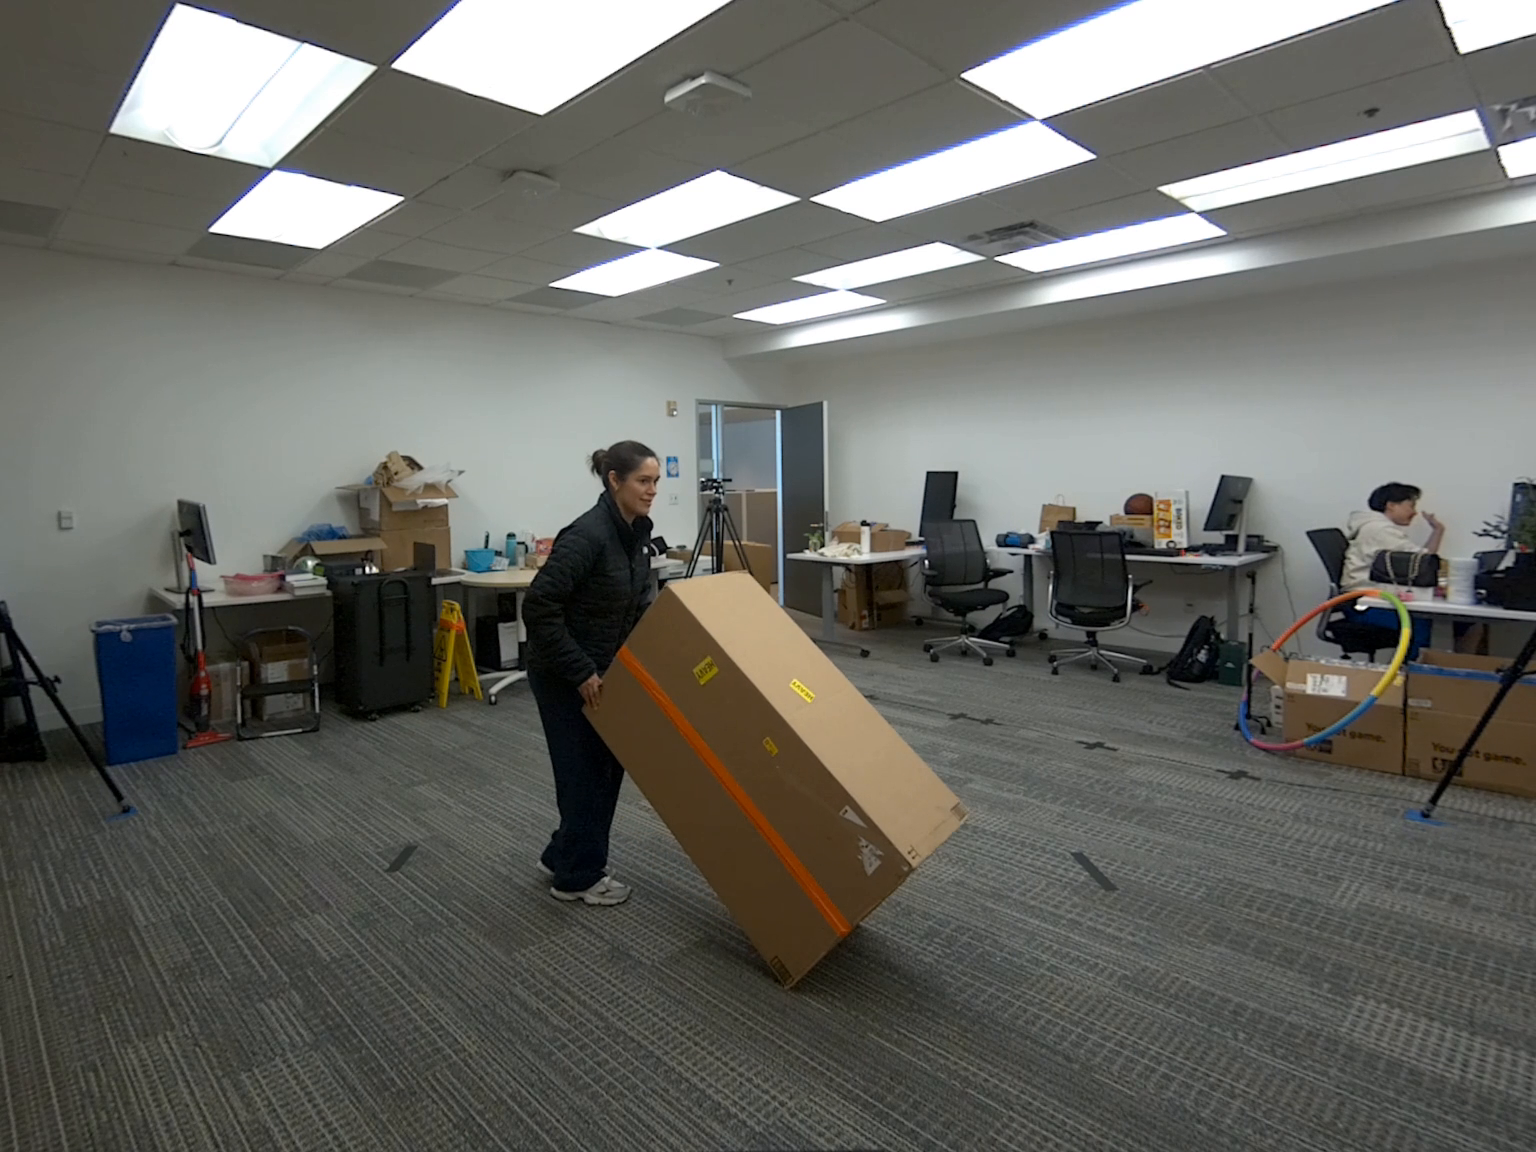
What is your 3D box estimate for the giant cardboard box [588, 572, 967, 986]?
[{"bbox_3d":[-0.007,0.558,2.592,1.057,0.581,0.436,46,28,22],"label":"giant cardboard box"}]
